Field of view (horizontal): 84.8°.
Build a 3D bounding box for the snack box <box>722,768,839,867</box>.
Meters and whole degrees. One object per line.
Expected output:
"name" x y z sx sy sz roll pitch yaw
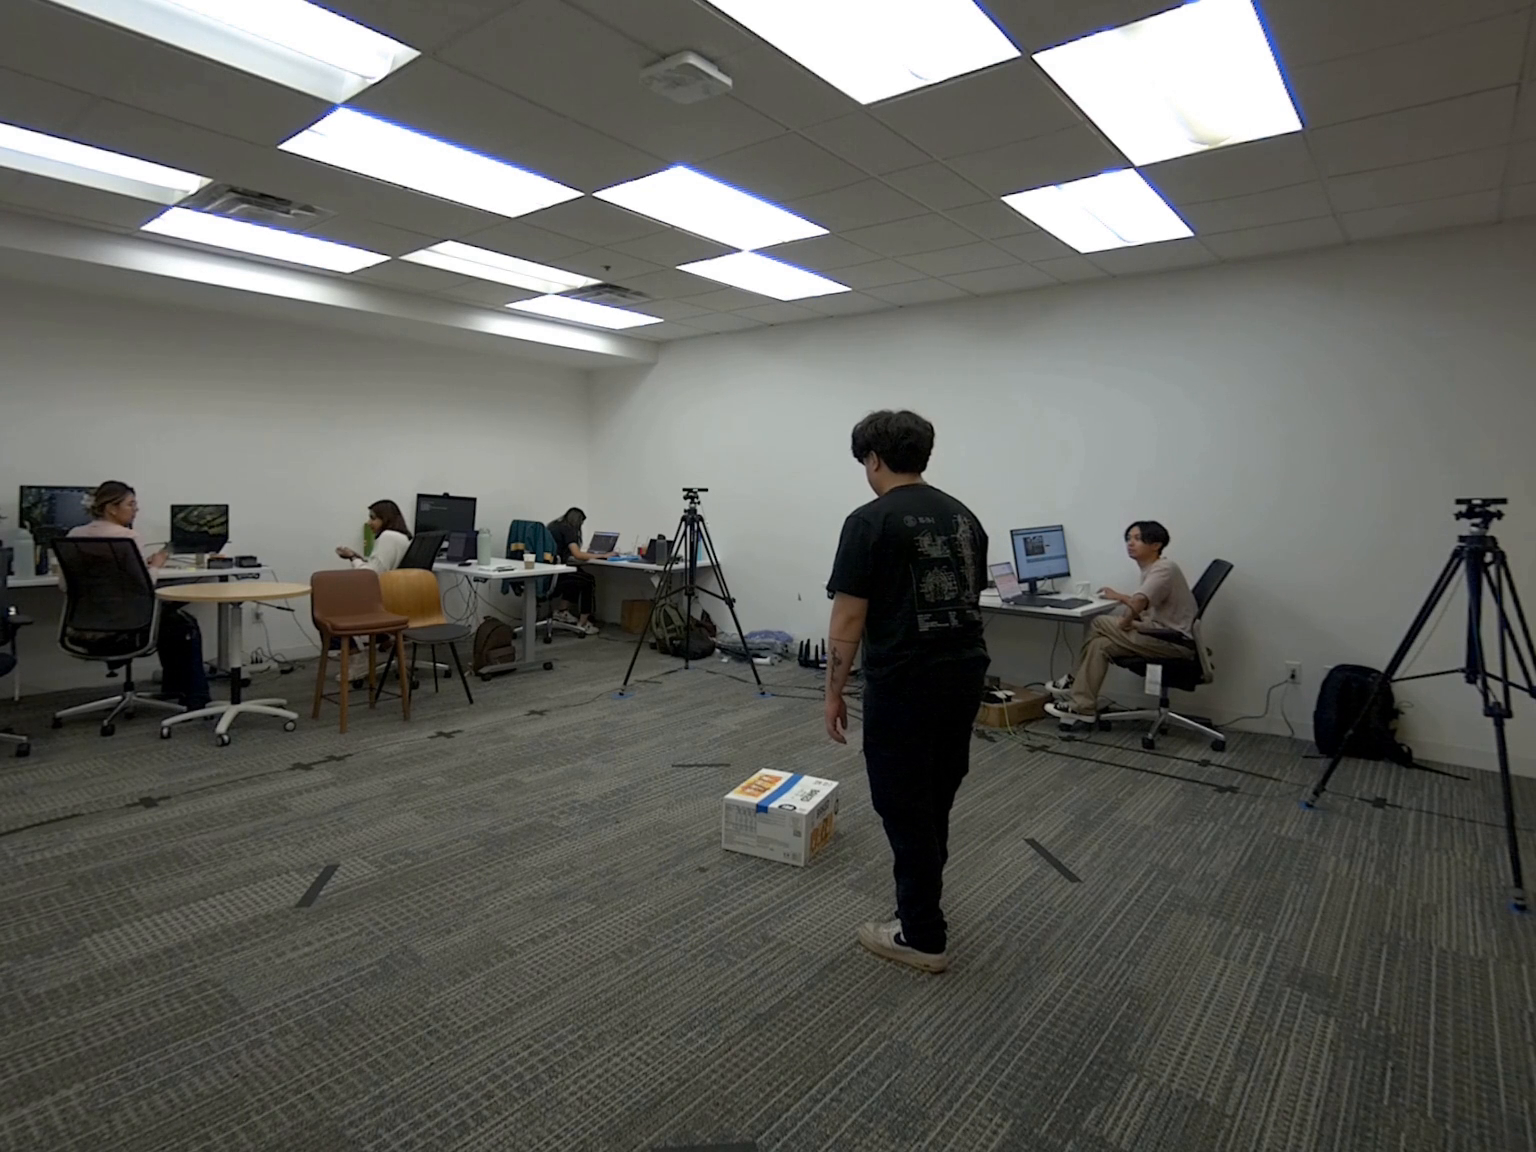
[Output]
"snack box" 0.048 0.944 3.380 0.349 0.205 0.396 3 5 24
